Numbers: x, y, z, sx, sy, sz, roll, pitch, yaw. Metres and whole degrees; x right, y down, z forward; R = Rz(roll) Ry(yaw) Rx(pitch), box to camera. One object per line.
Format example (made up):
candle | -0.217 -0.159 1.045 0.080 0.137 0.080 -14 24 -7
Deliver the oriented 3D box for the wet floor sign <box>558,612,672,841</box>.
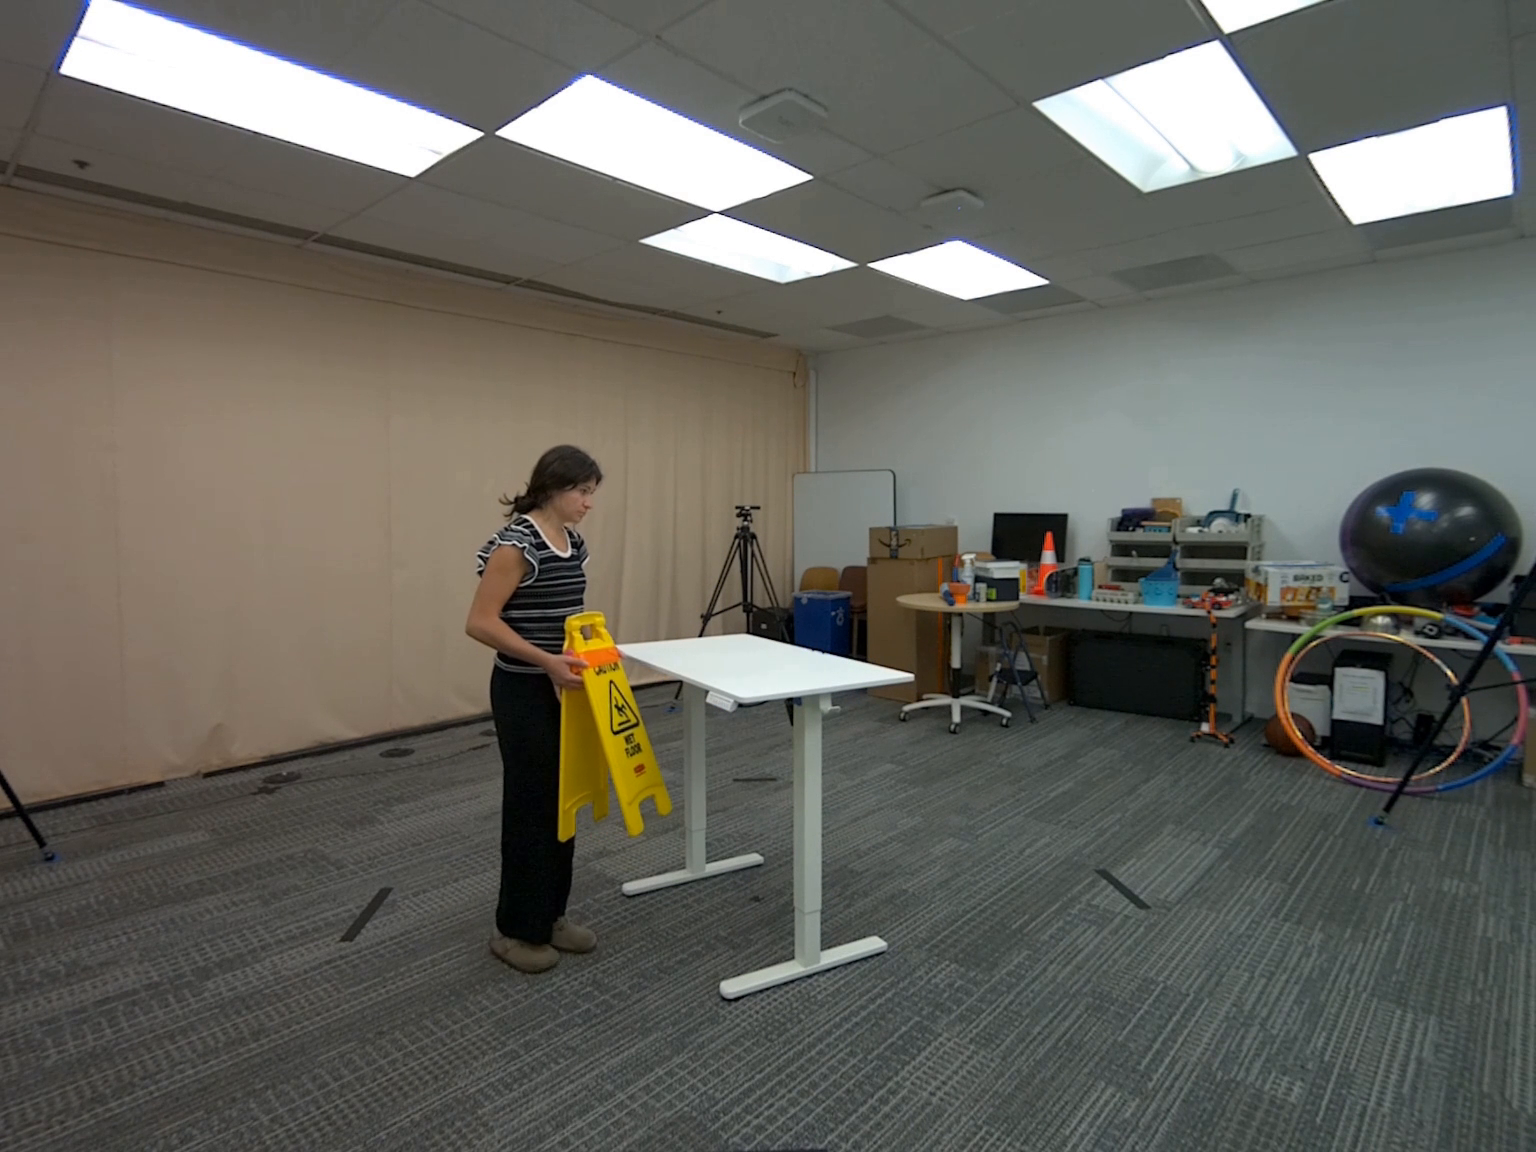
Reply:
wet floor sign | -0.514 0.440 2.558 0.295 0.648 0.276 -11 -5 20
